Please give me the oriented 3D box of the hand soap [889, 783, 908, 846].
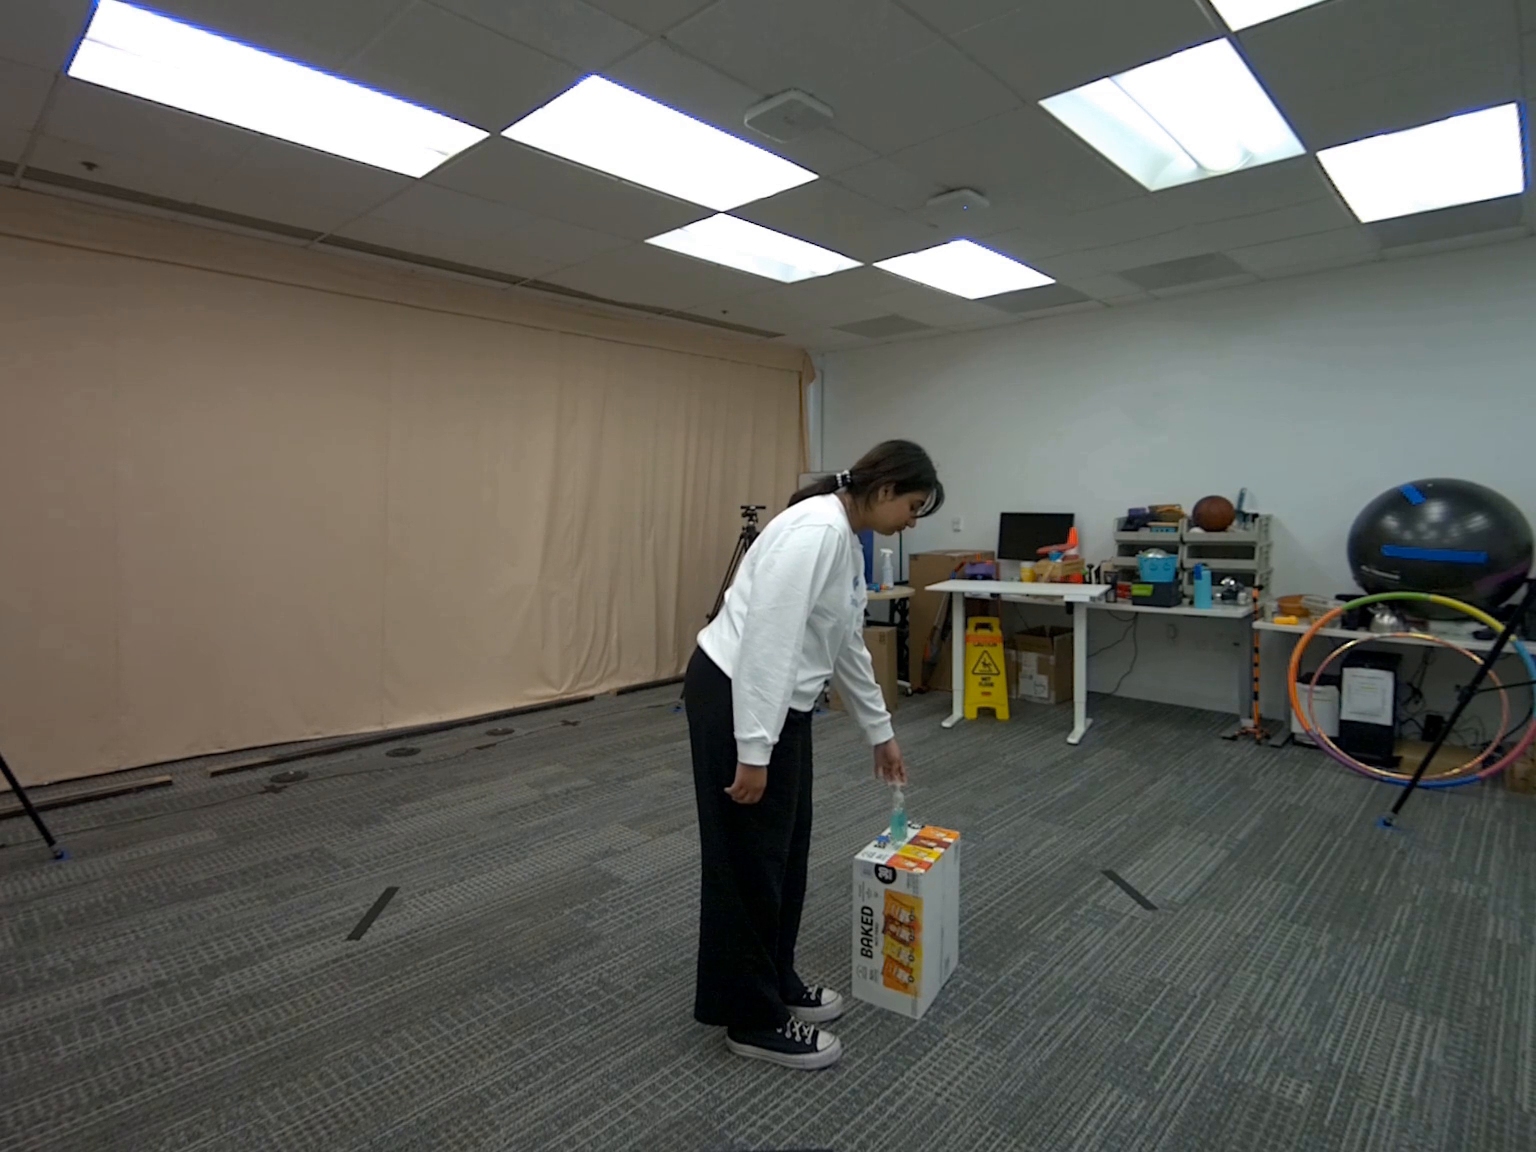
[{"bbox_3d":[0.375,0.667,2.430,0.044,0.167,0.083,2,9,17],"label":"hand soap"}]
